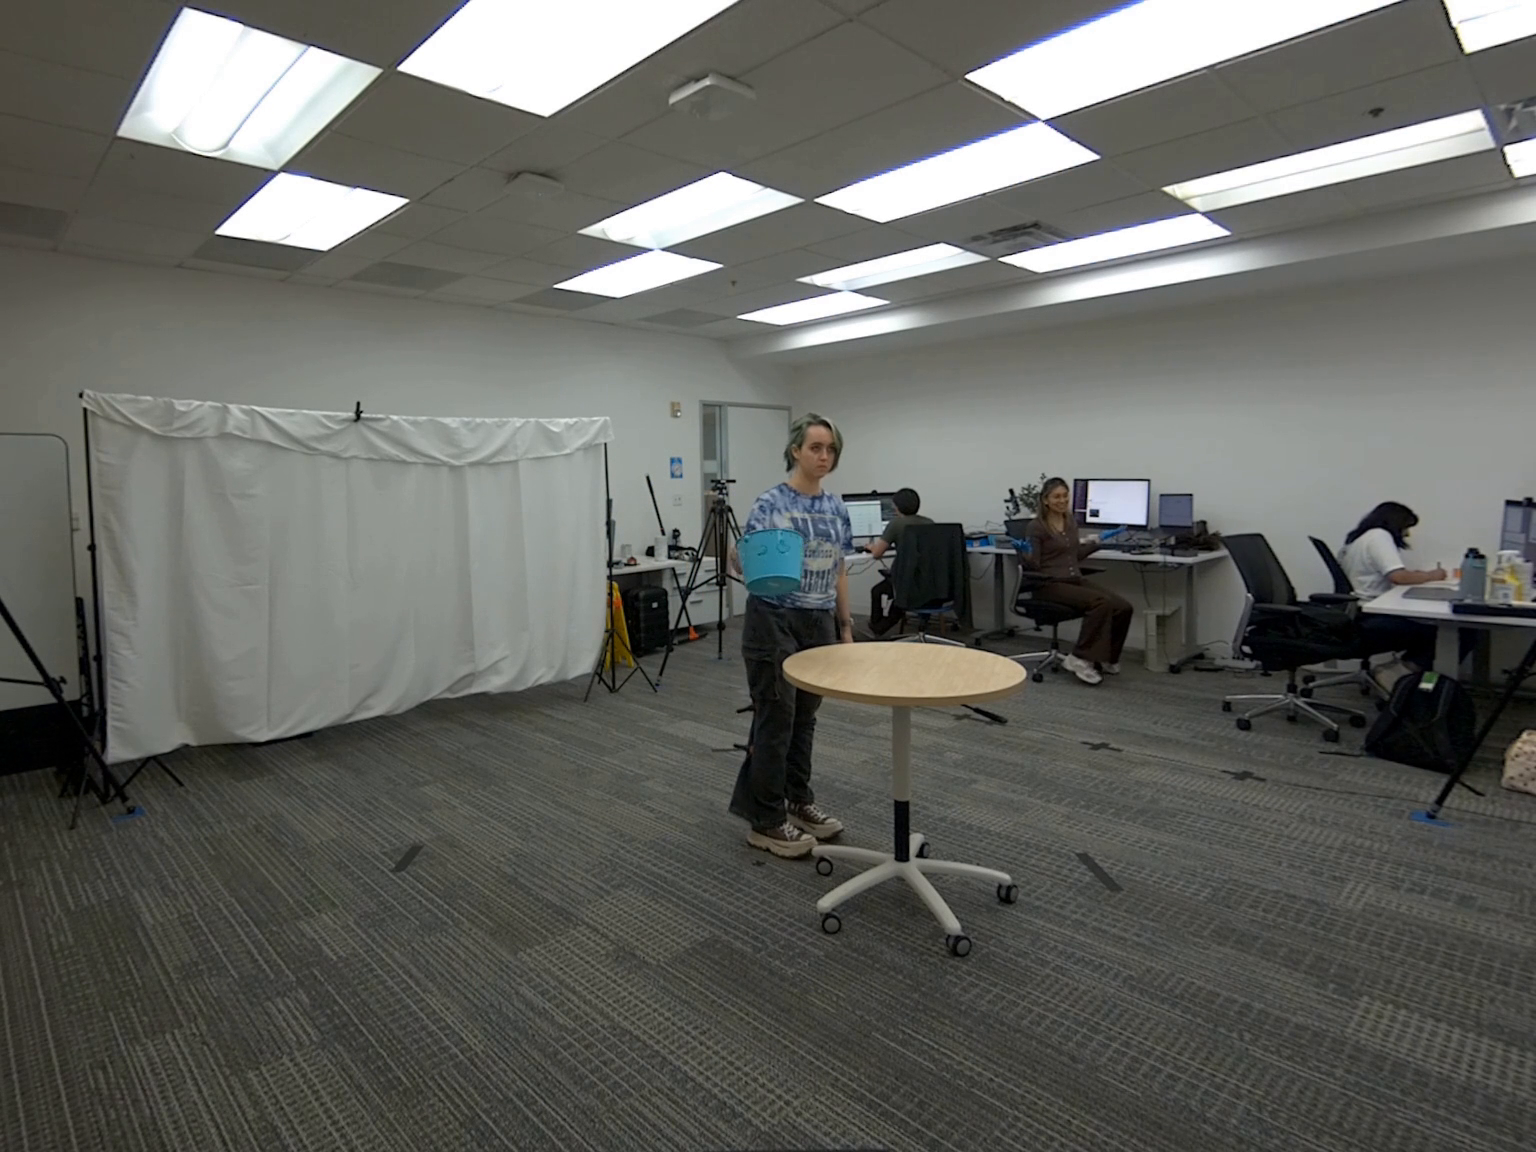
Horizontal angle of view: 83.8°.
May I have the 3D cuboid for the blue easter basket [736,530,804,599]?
[{"bbox_3d":[0.009,-0.030,2.794,0.243,0.159,0.239,-3,-23,-3],"label":"blue easter basket"}]
